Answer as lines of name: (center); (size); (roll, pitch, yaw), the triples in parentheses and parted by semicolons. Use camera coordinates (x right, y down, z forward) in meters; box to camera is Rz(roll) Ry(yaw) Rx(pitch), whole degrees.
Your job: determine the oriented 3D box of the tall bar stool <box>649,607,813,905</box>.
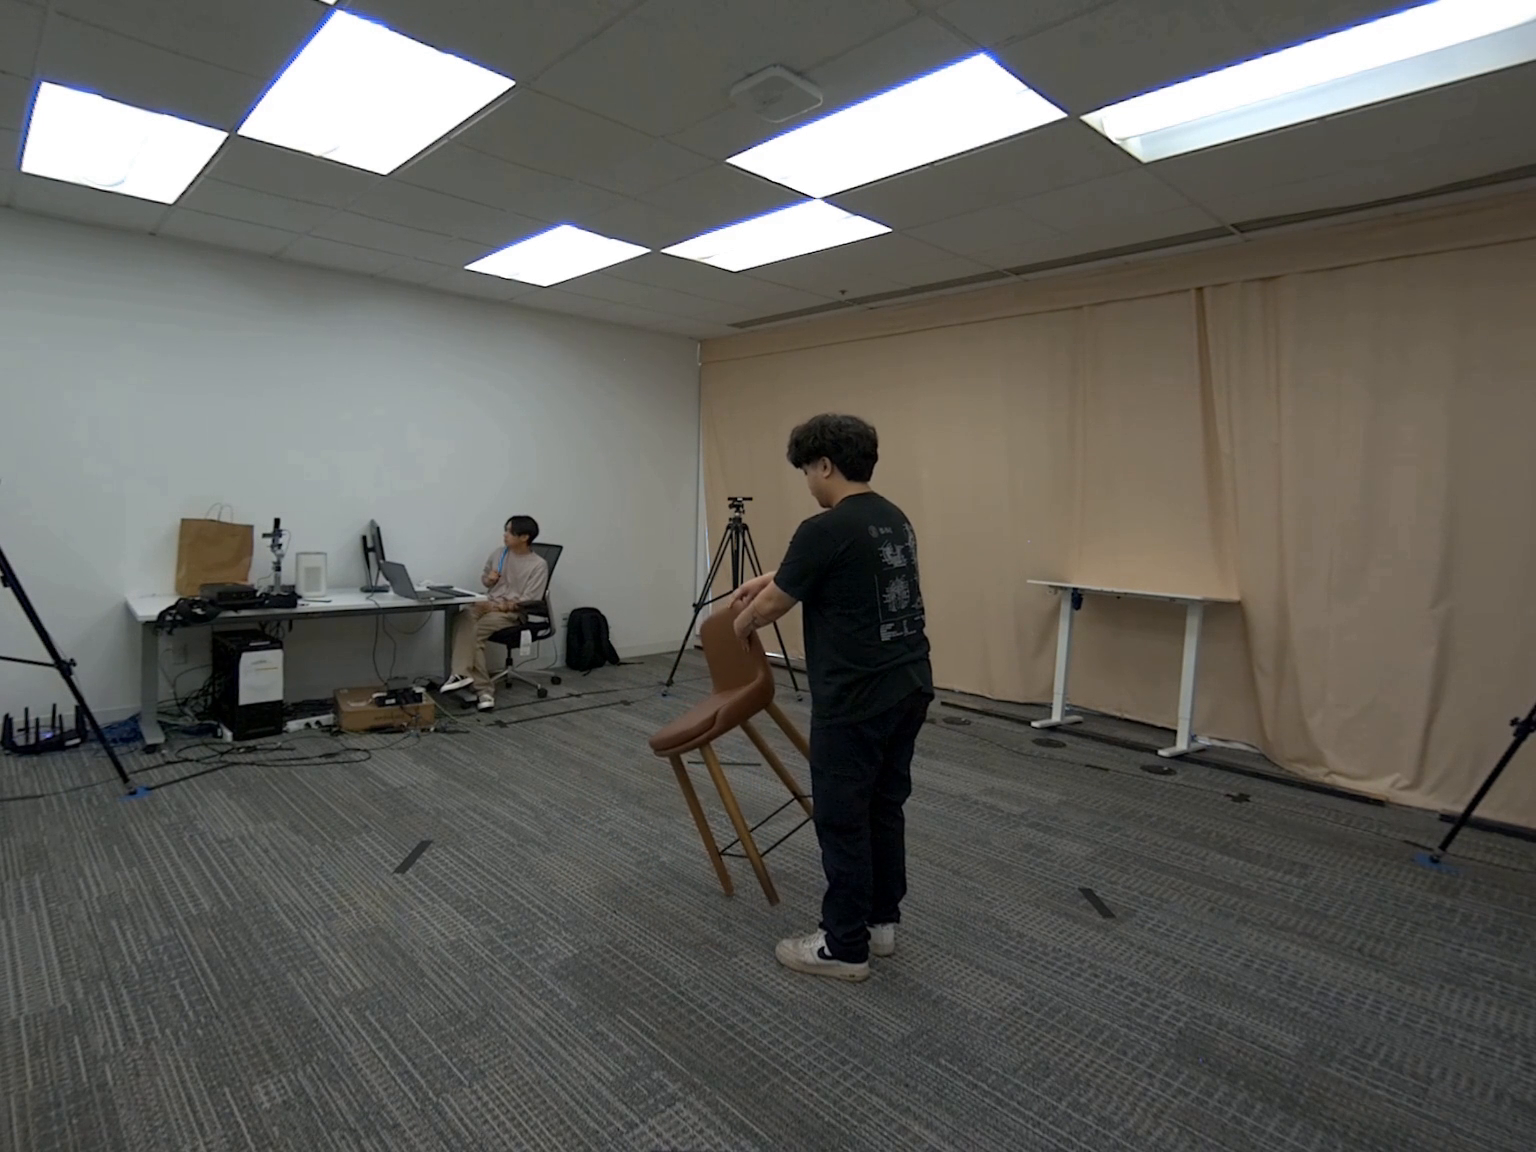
tall bar stool: (-0.116, 0.602, 2.916); (0.463, 0.892, 0.459); (-27, -3, -29)
